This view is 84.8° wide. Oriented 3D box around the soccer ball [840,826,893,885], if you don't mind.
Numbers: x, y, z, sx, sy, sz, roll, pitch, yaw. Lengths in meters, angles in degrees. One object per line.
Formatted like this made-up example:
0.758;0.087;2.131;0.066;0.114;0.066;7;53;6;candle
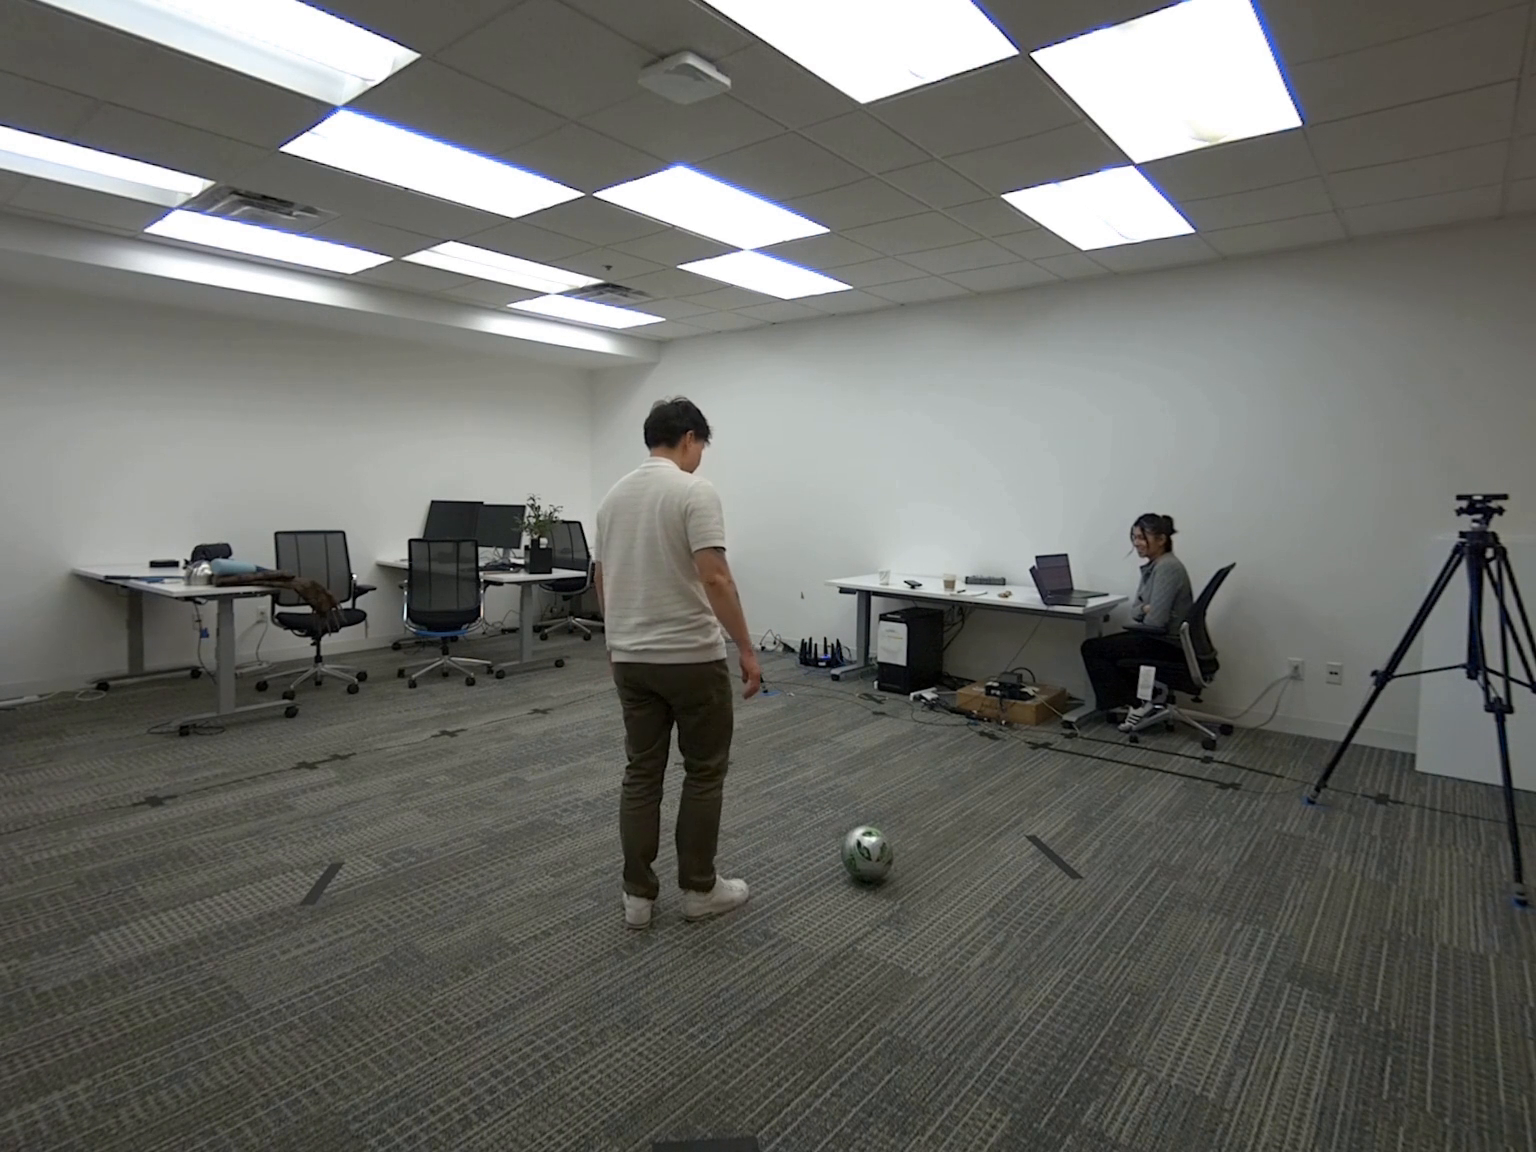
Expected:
0.346;0.989;3.038;0.187;0.187;0.188;1;4;-2;soccer ball
